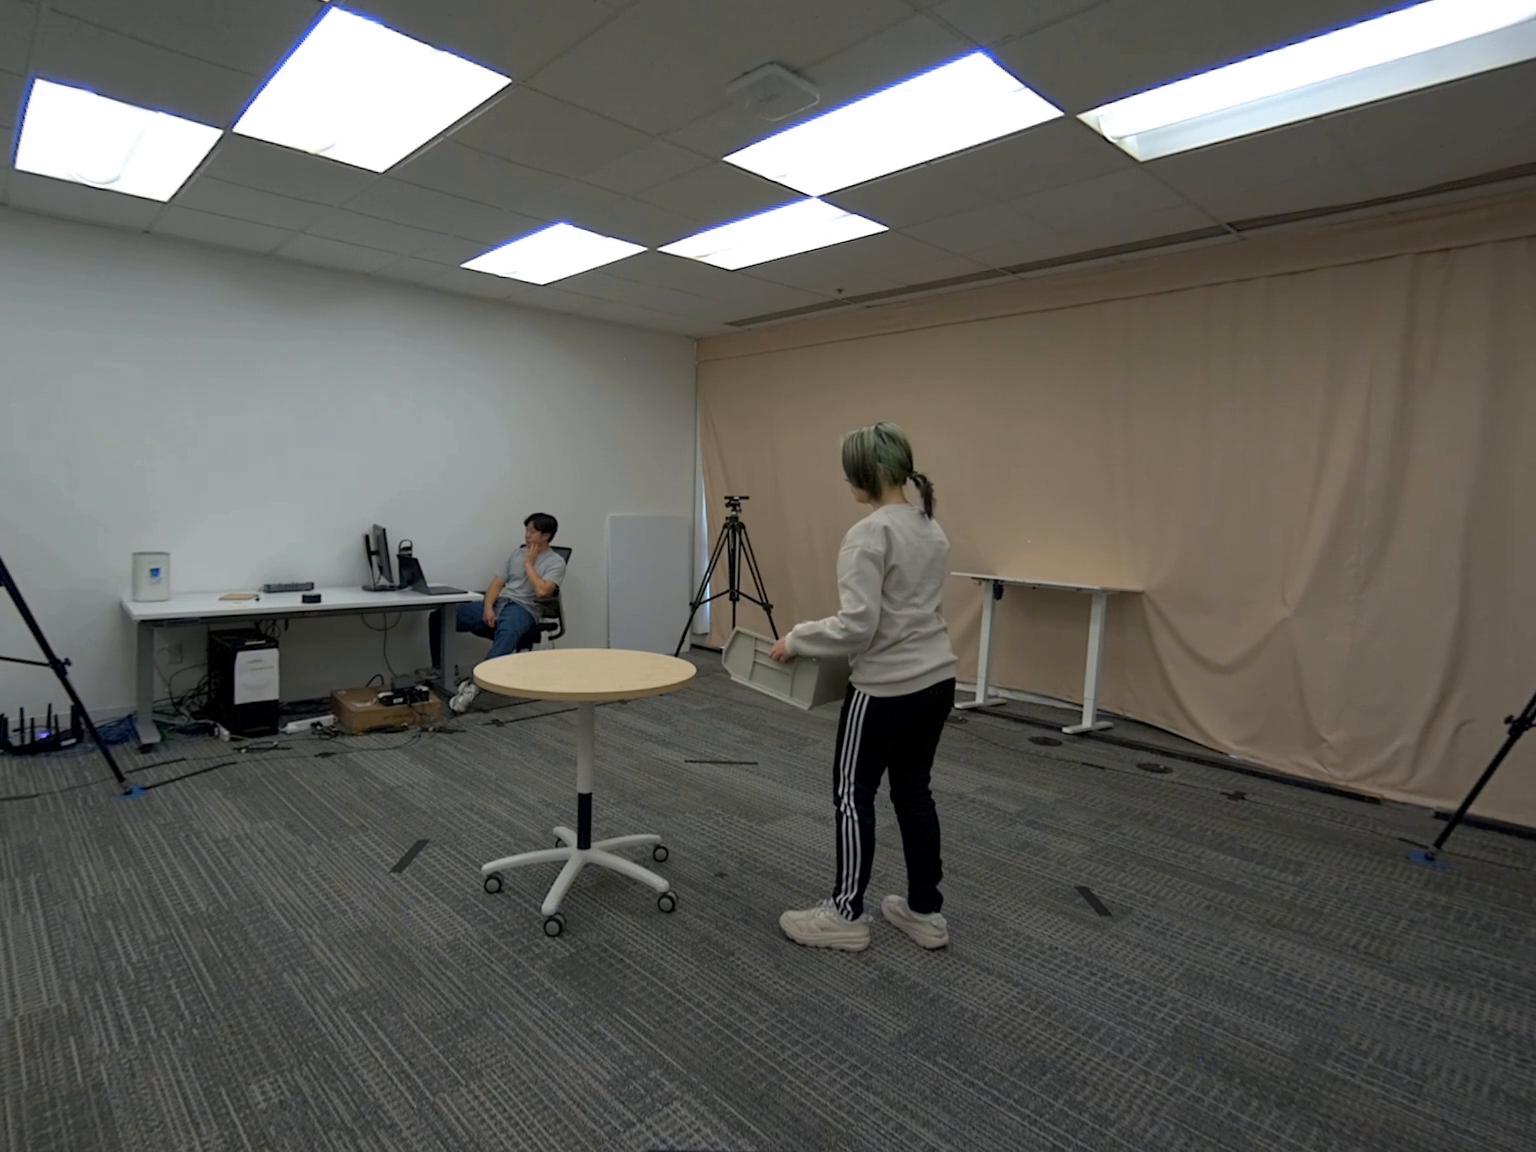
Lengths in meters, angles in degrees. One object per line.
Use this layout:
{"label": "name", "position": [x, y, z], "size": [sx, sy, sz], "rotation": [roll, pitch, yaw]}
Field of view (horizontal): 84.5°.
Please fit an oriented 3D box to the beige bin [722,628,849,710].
{"label": "beige bin", "position": [0.112, 0.283, 2.878], "size": [0.388, 0.188, 0.412], "rotation": [18, 10, 36]}
